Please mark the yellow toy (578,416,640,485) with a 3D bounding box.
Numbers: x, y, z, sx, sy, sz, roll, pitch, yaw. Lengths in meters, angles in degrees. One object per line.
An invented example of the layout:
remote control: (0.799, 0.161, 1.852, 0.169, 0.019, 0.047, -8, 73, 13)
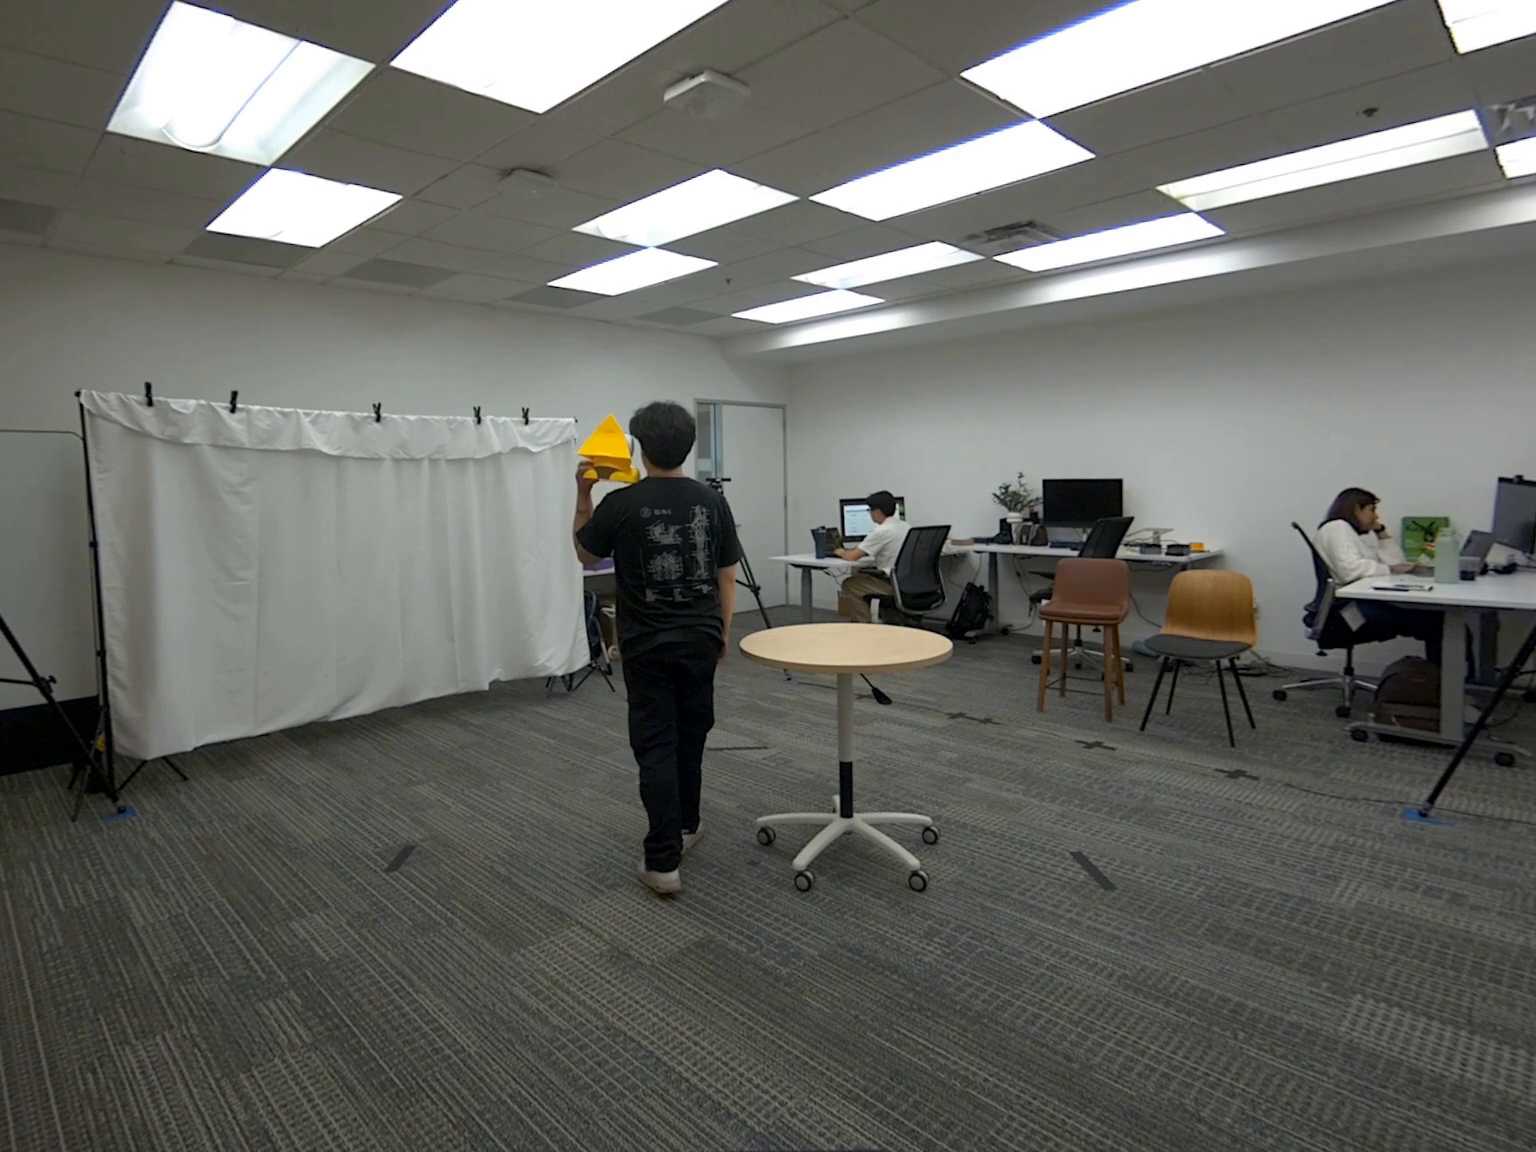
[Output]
yellow toy: (-0.541, -0.453, 3.041, 0.208, 0.231, 0.190, 6, 0, 13)
